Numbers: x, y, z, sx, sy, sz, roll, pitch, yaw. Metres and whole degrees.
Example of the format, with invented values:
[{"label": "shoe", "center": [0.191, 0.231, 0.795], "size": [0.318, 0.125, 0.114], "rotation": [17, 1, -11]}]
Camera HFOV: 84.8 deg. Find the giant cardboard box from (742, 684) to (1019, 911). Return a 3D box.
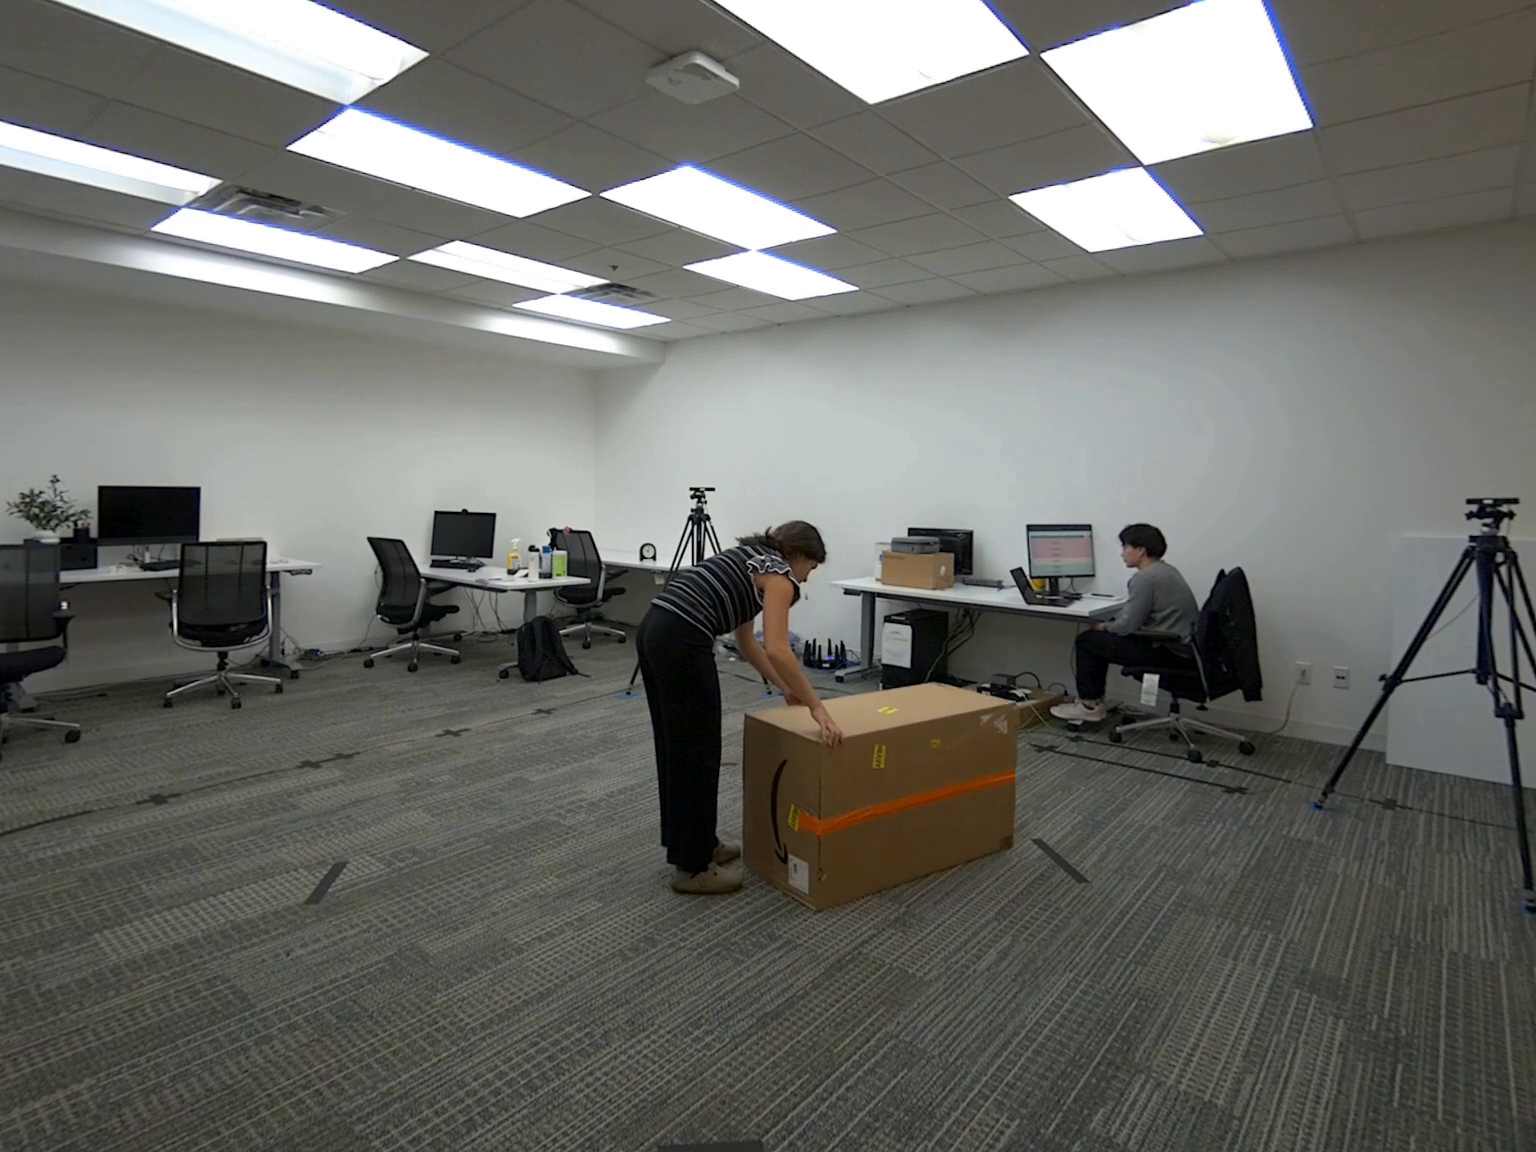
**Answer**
[{"label": "giant cardboard box", "center": [0.434, 0.777, 3.238], "size": [0.996, 0.575, 0.440], "rotation": [-3, 5, -36]}]
